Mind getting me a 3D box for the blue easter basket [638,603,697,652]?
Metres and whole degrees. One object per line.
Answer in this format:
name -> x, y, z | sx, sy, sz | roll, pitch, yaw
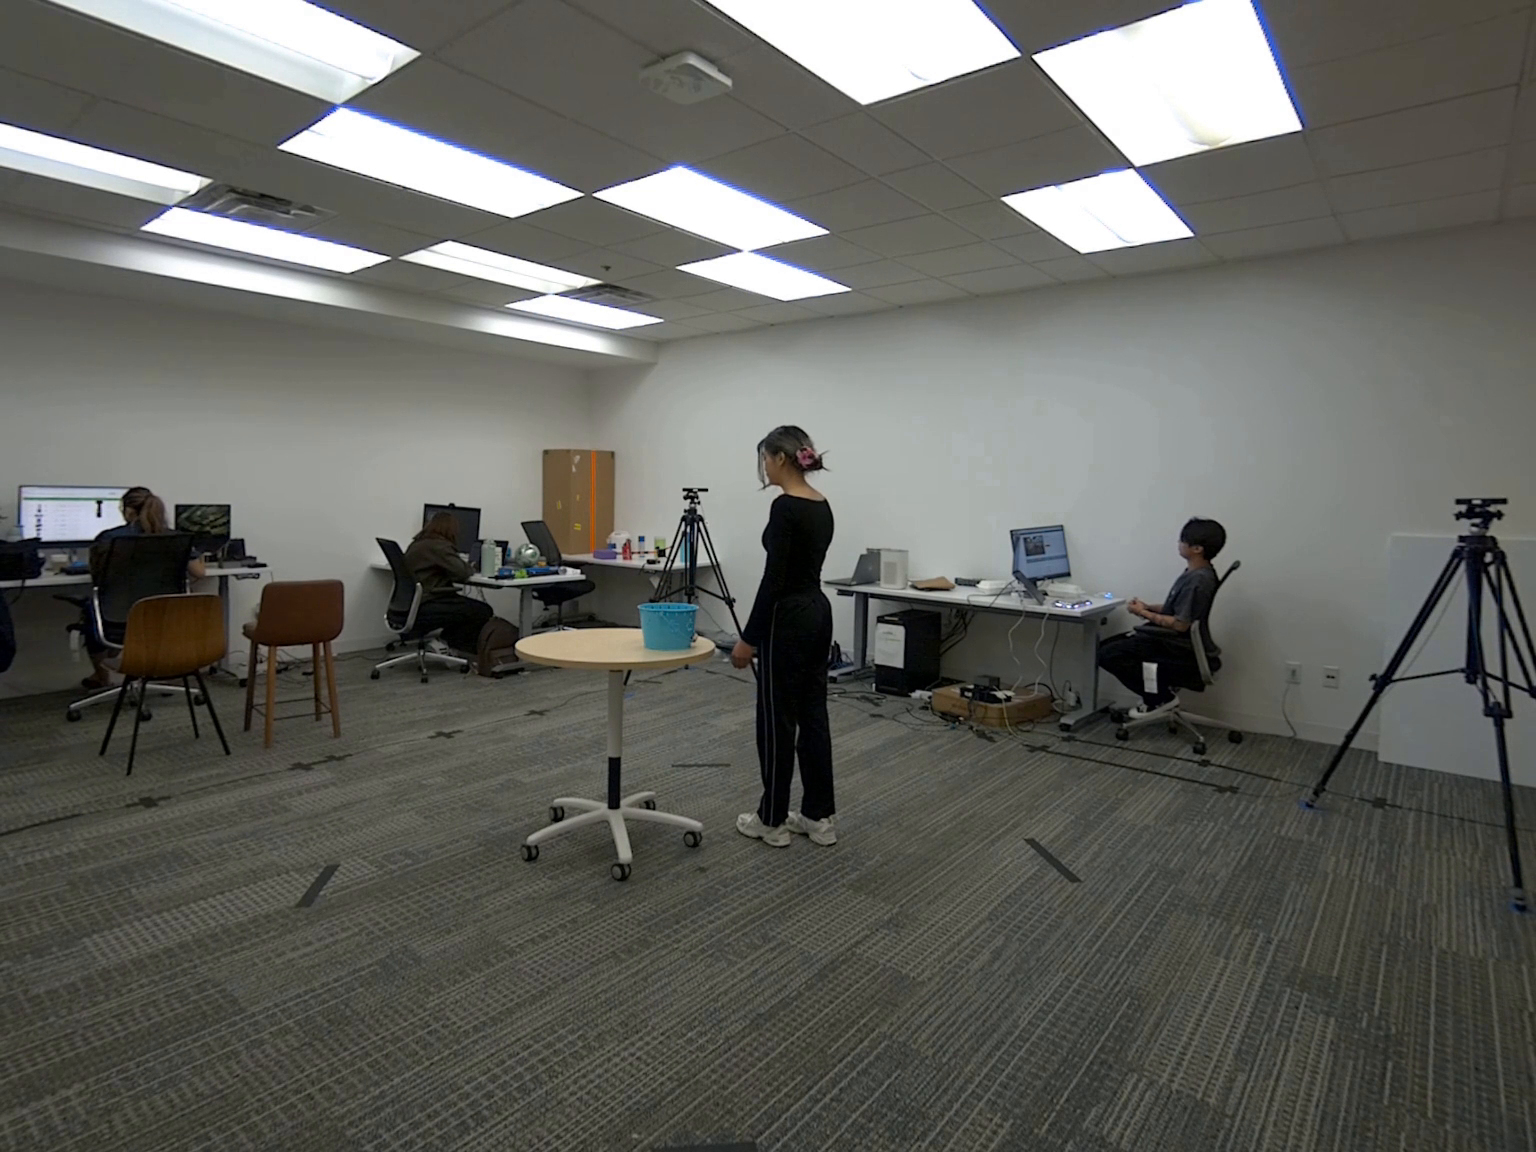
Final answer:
blue easter basket -> -0.391, 0.190, 3.259 | 0.243, 0.155, 0.244 | 1, 3, -2
